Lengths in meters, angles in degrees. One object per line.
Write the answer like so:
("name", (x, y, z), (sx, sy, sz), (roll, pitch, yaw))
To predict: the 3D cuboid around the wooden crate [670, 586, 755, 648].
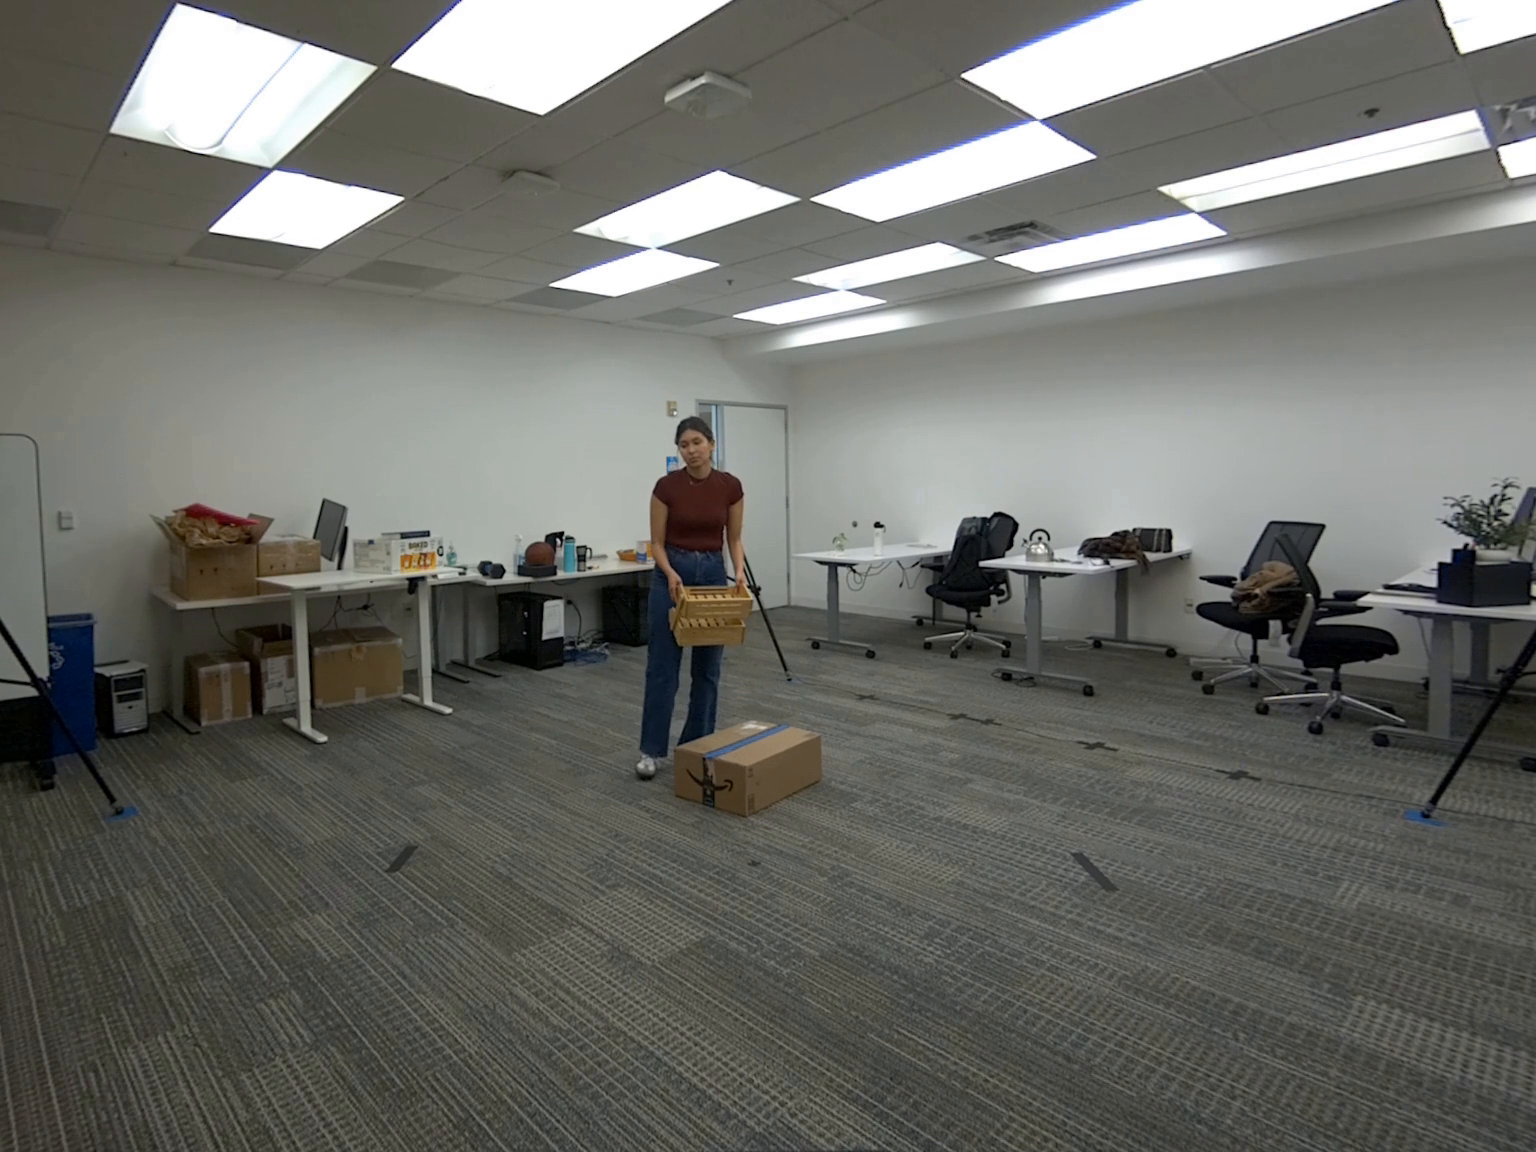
("wooden crate", (-0.269, 0.154, 3.899), (0.319, 0.268, 0.312), (-2, 27, -17))
